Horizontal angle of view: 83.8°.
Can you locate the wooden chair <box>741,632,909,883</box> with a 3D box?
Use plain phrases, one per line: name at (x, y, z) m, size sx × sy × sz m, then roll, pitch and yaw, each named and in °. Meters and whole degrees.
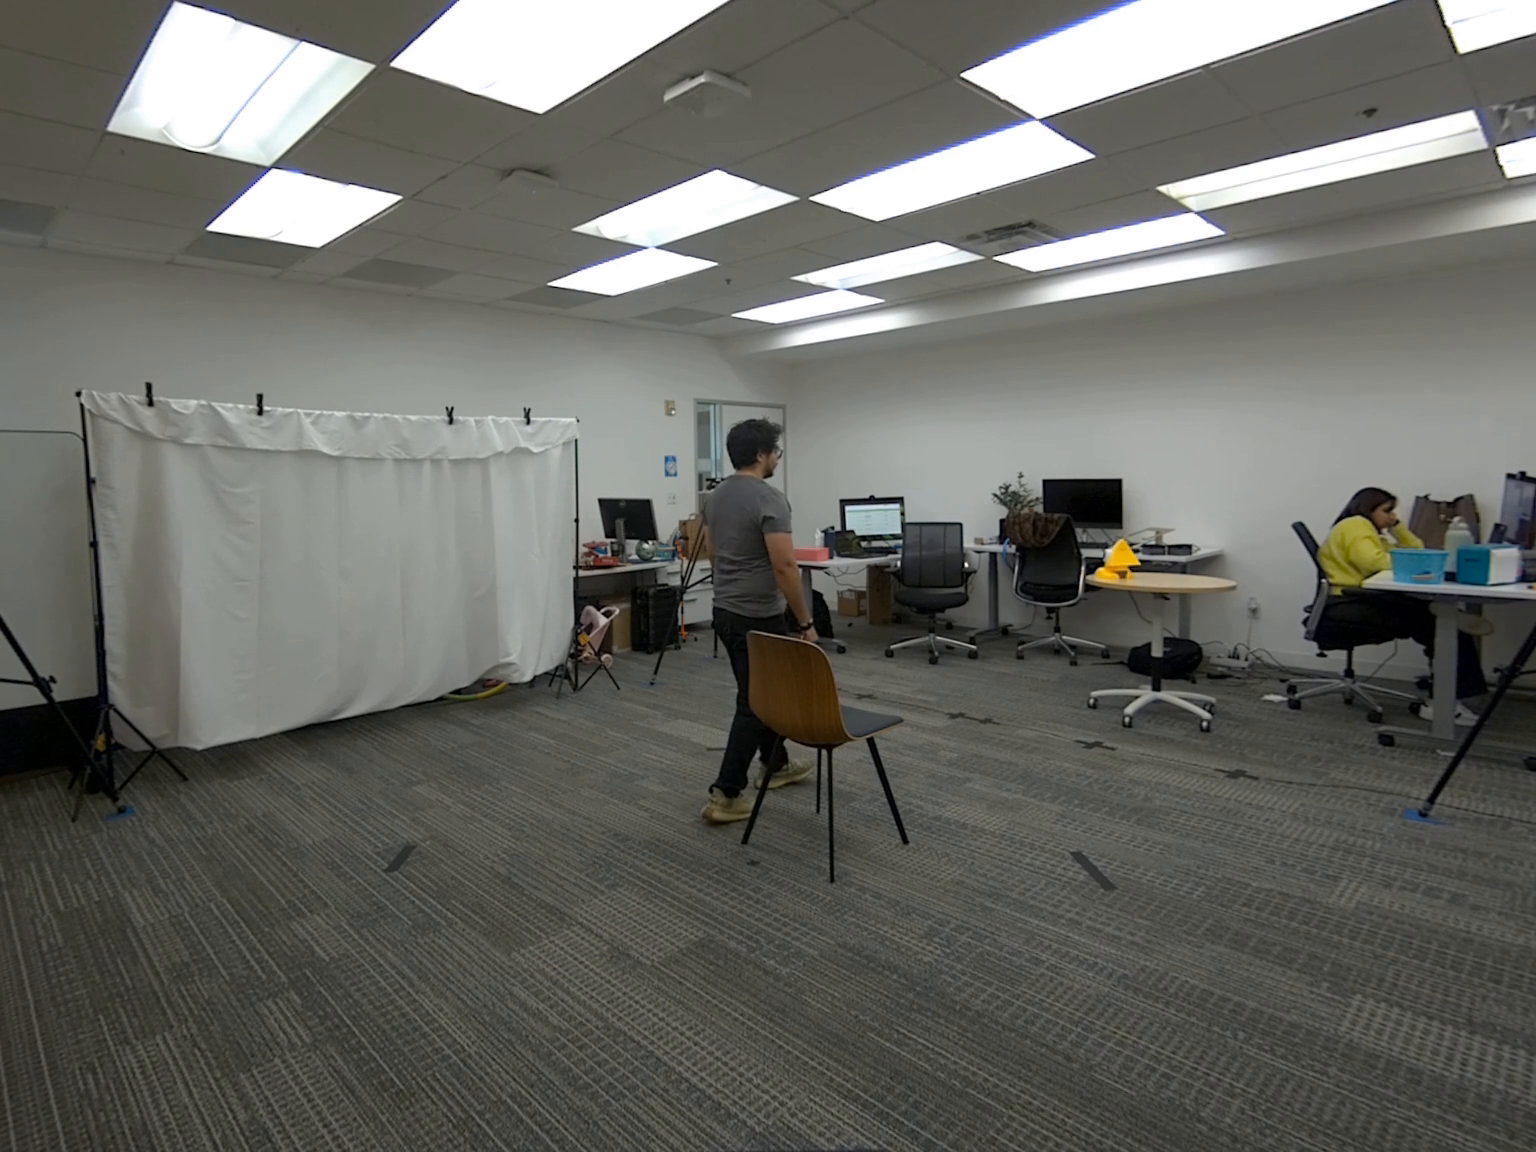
wooden chair at (0.218, 0.597, 3.227) m, size 0.511 × 0.871 × 0.493 m, roll -11°, pitch 10°, yaw -44°
